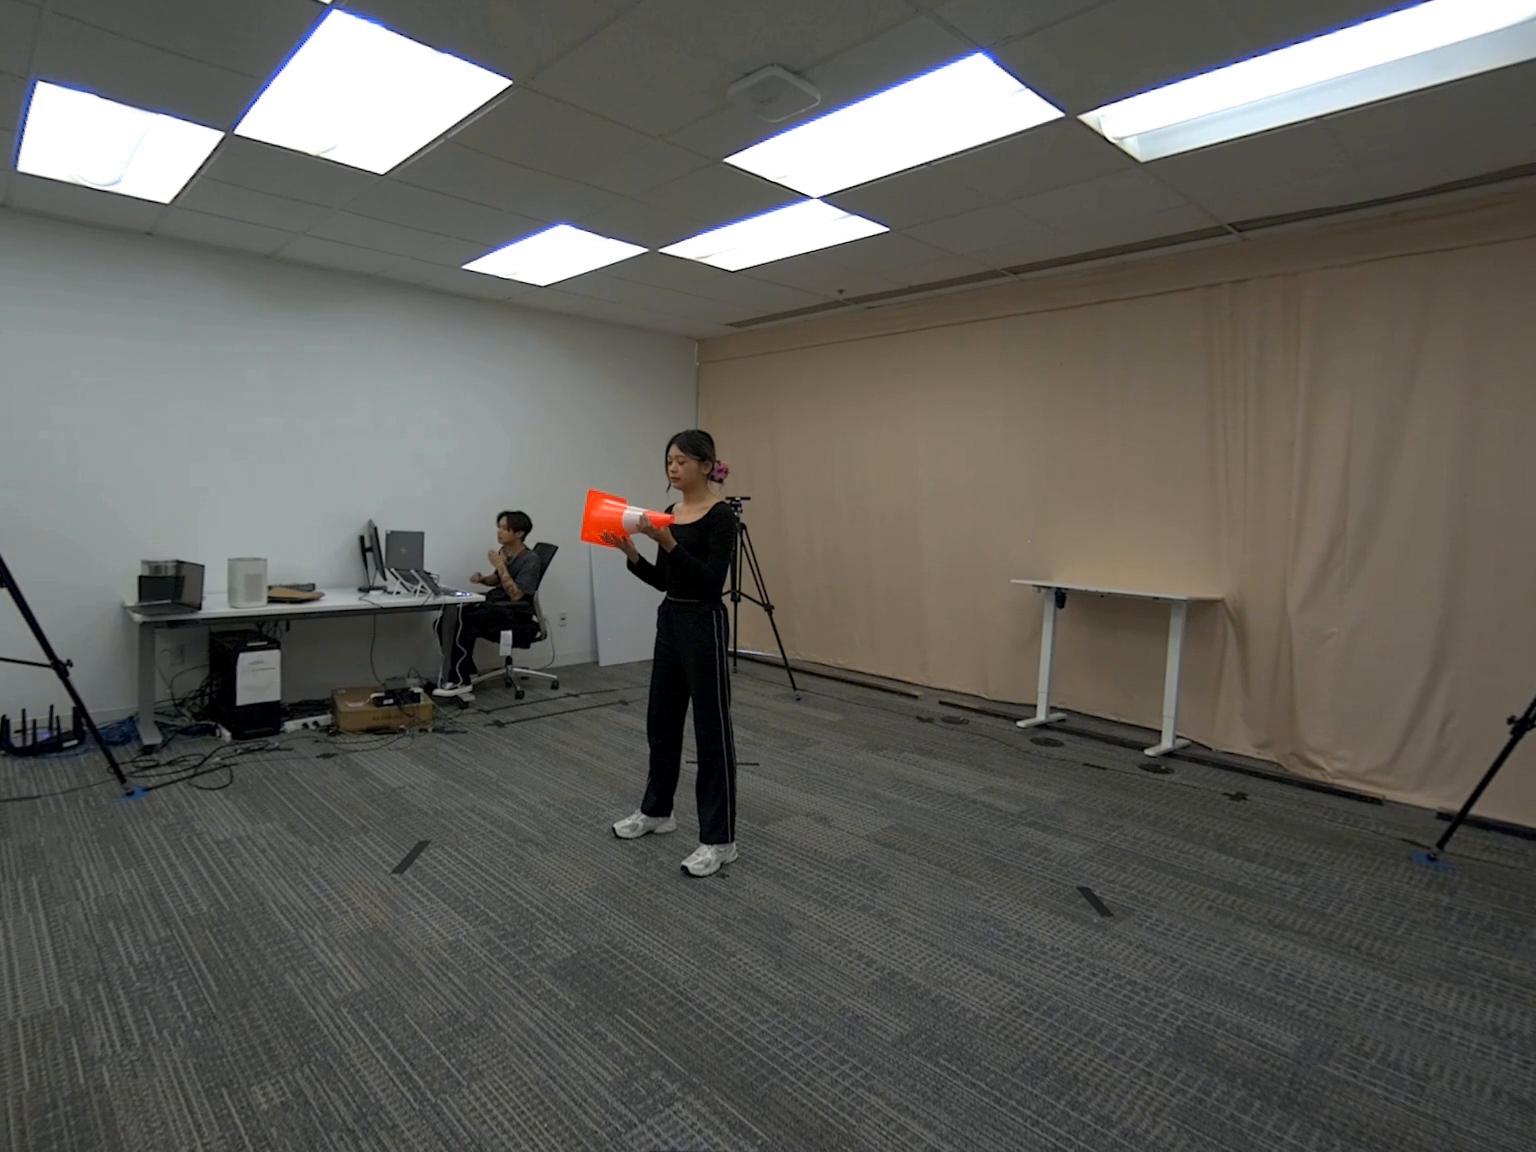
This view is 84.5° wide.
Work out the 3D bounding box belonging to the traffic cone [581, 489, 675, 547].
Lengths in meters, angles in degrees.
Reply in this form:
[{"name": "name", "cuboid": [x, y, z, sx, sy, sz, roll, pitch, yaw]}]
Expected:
[{"name": "traffic cone", "cuboid": [-0.484, -0.206, 3.079, 0.393, 0.206, 0.197, 3, -8, 40]}]
